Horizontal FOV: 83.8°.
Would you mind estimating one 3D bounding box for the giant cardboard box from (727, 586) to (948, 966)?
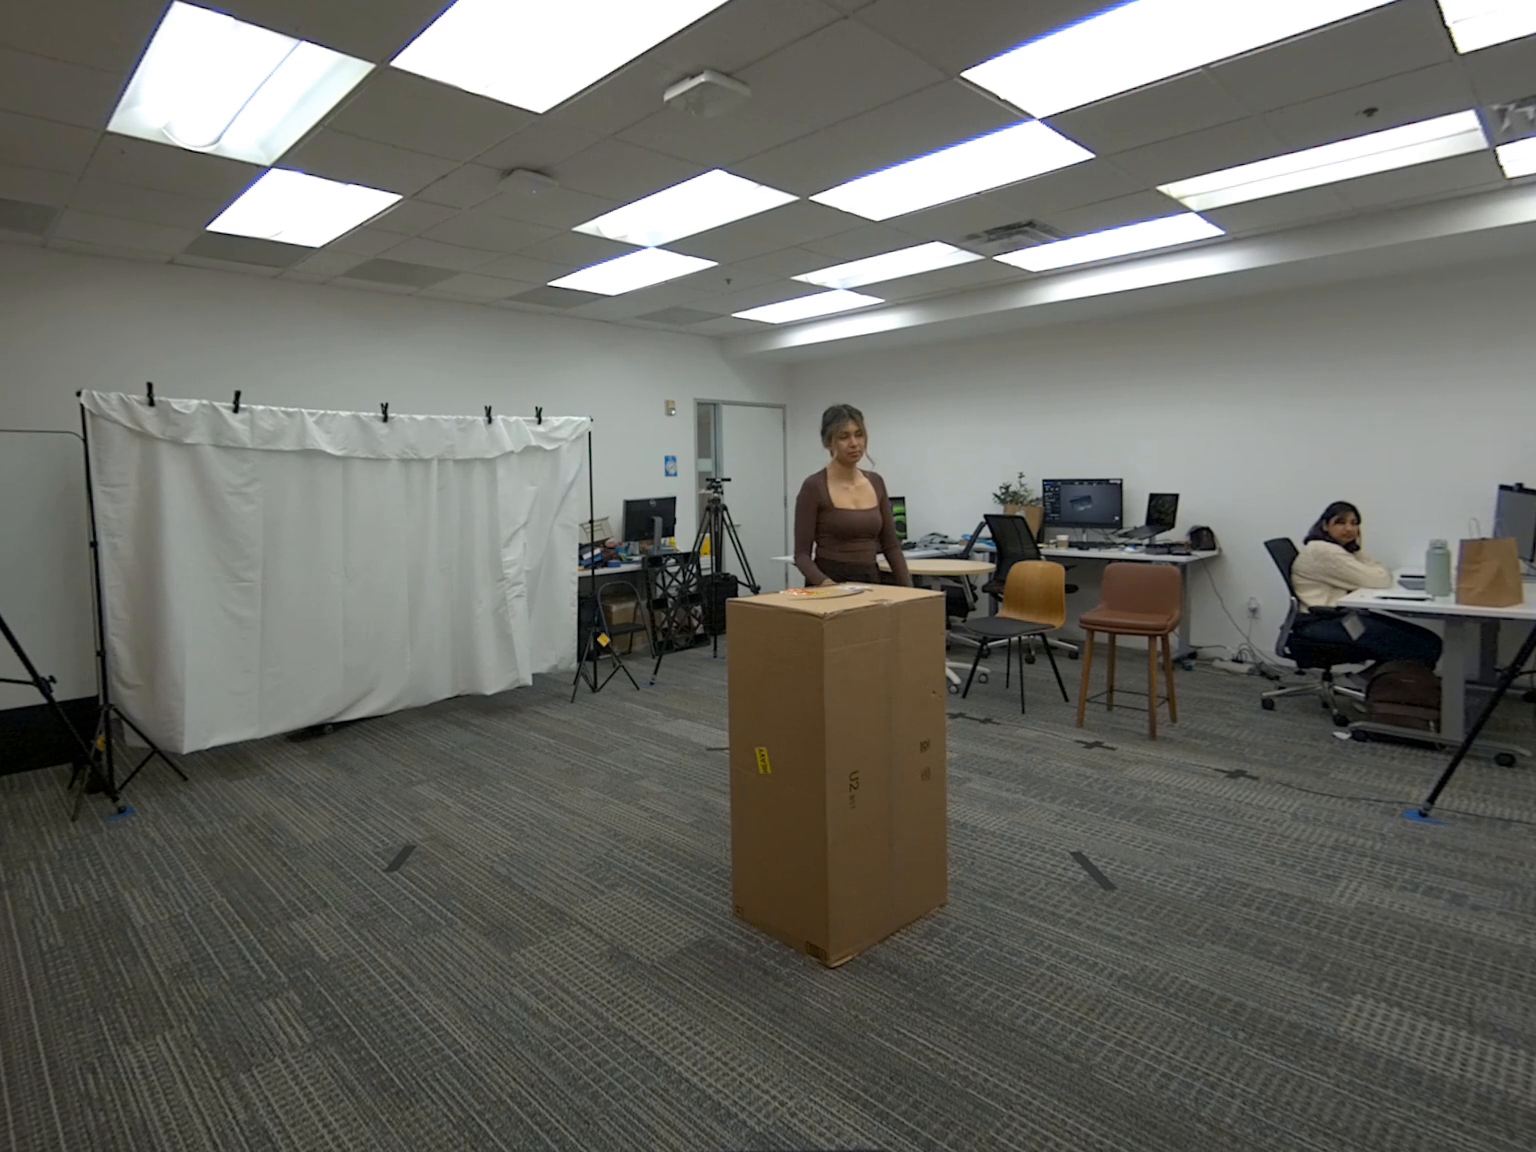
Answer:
[{"bbox_3d":[0.227,0.569,2.737,0.568,1.024,0.460,-5,5,-40],"label":"giant cardboard box"}]
